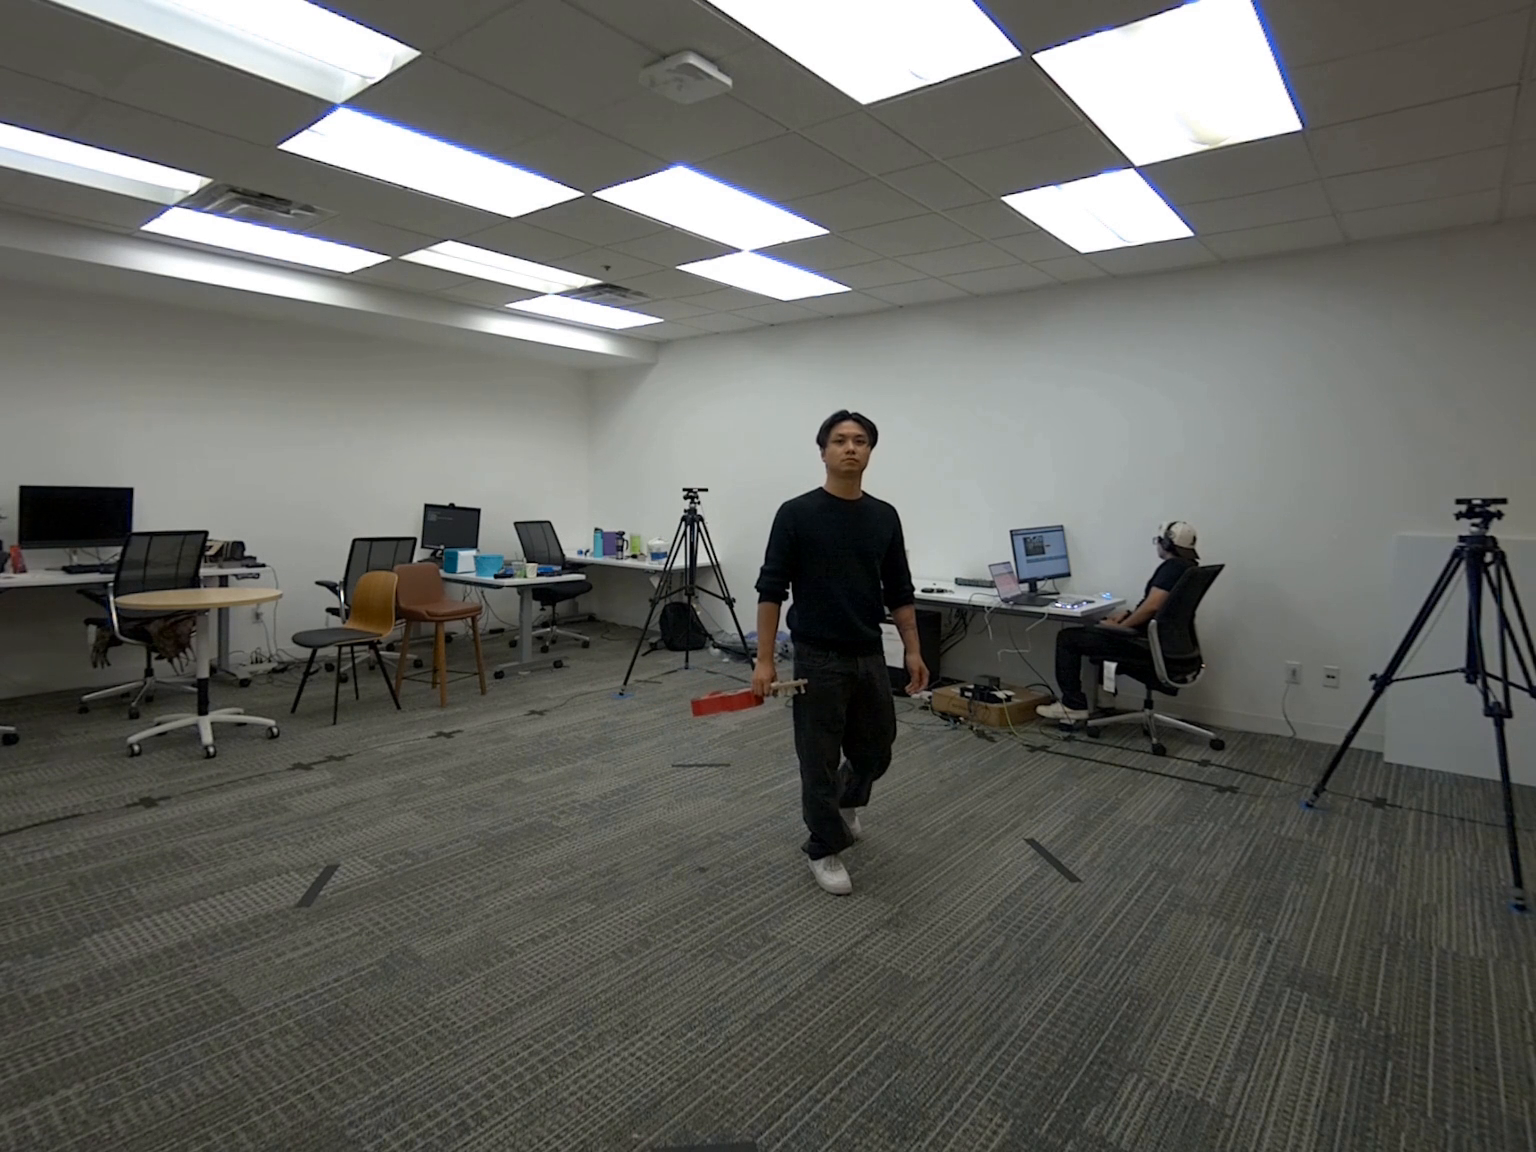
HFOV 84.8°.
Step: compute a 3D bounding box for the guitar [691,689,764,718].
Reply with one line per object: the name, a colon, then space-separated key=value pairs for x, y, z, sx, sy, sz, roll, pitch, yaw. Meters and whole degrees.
guitar: x=-0.090 y=0.419 z=2.964 sx=0.188 sy=0.071 sz=0.508 roll=-10 pitch=-4 yaw=-40
